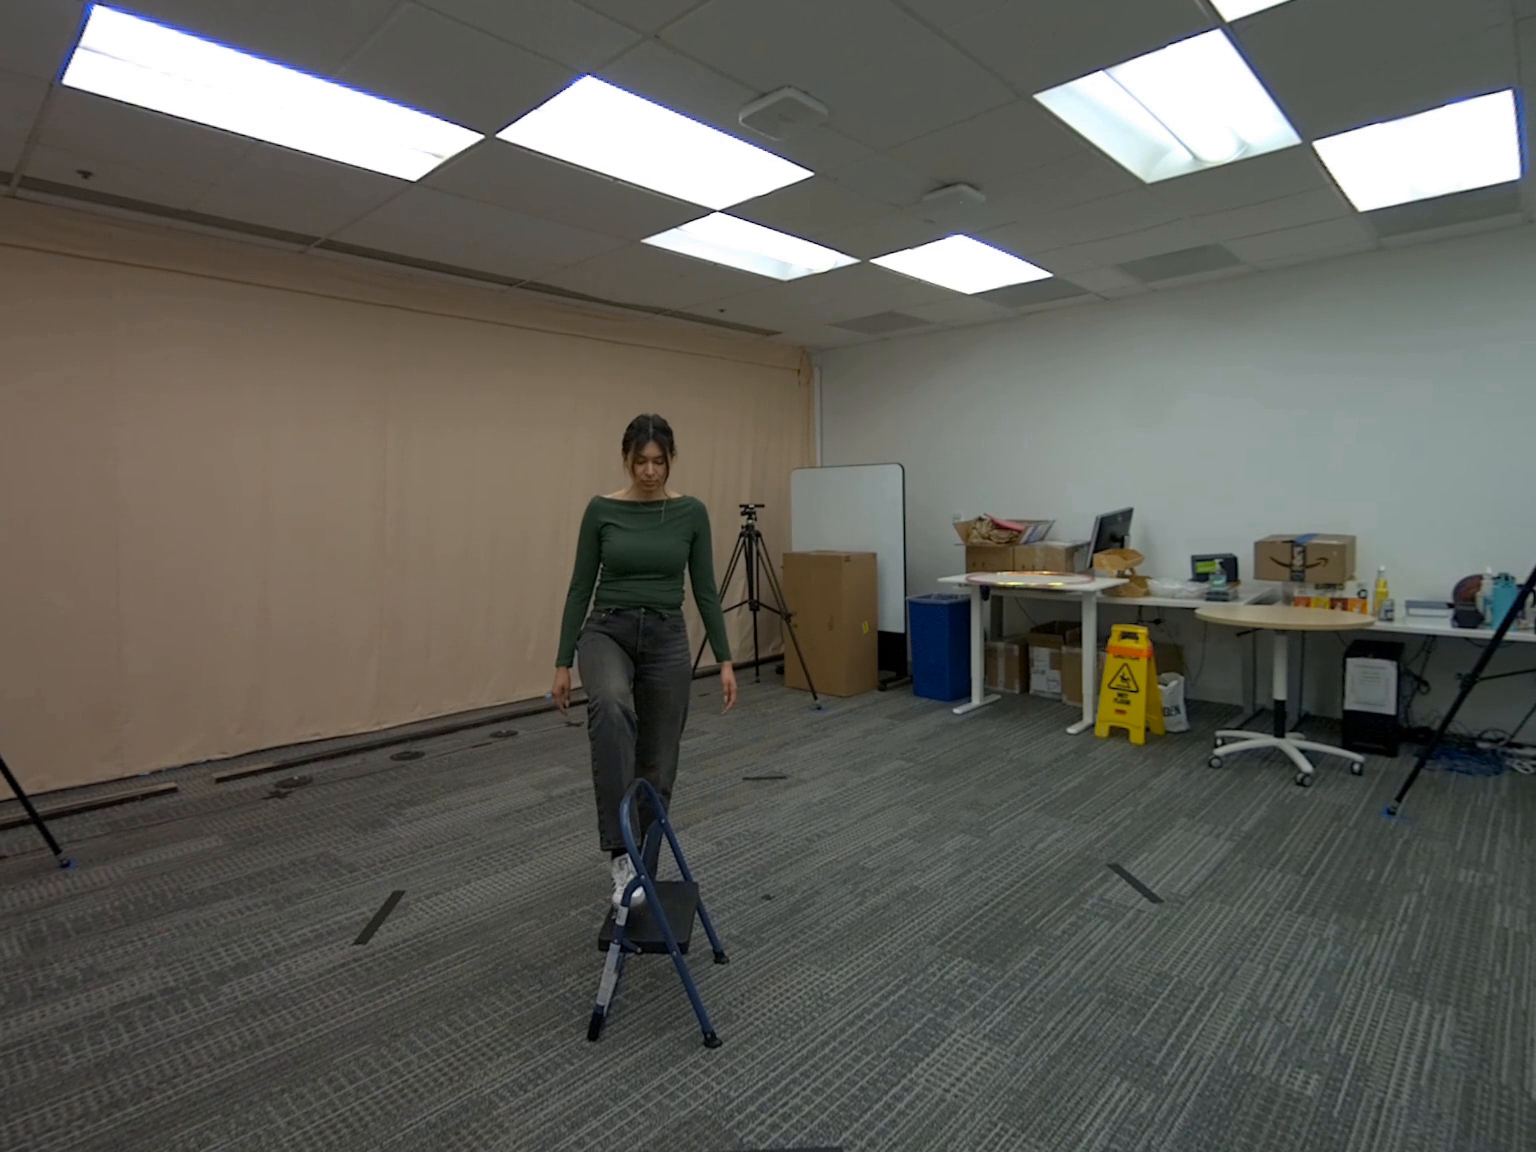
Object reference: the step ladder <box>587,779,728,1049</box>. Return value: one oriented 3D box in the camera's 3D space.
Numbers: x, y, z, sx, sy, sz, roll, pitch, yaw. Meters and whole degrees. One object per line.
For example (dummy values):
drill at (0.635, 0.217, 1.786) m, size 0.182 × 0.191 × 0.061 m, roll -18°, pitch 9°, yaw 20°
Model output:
step ladder at (-0.298, 0.899, 2.370) m, size 0.350 × 0.605 × 0.431 m, roll 0°, pitch 4°, yaw 1°
